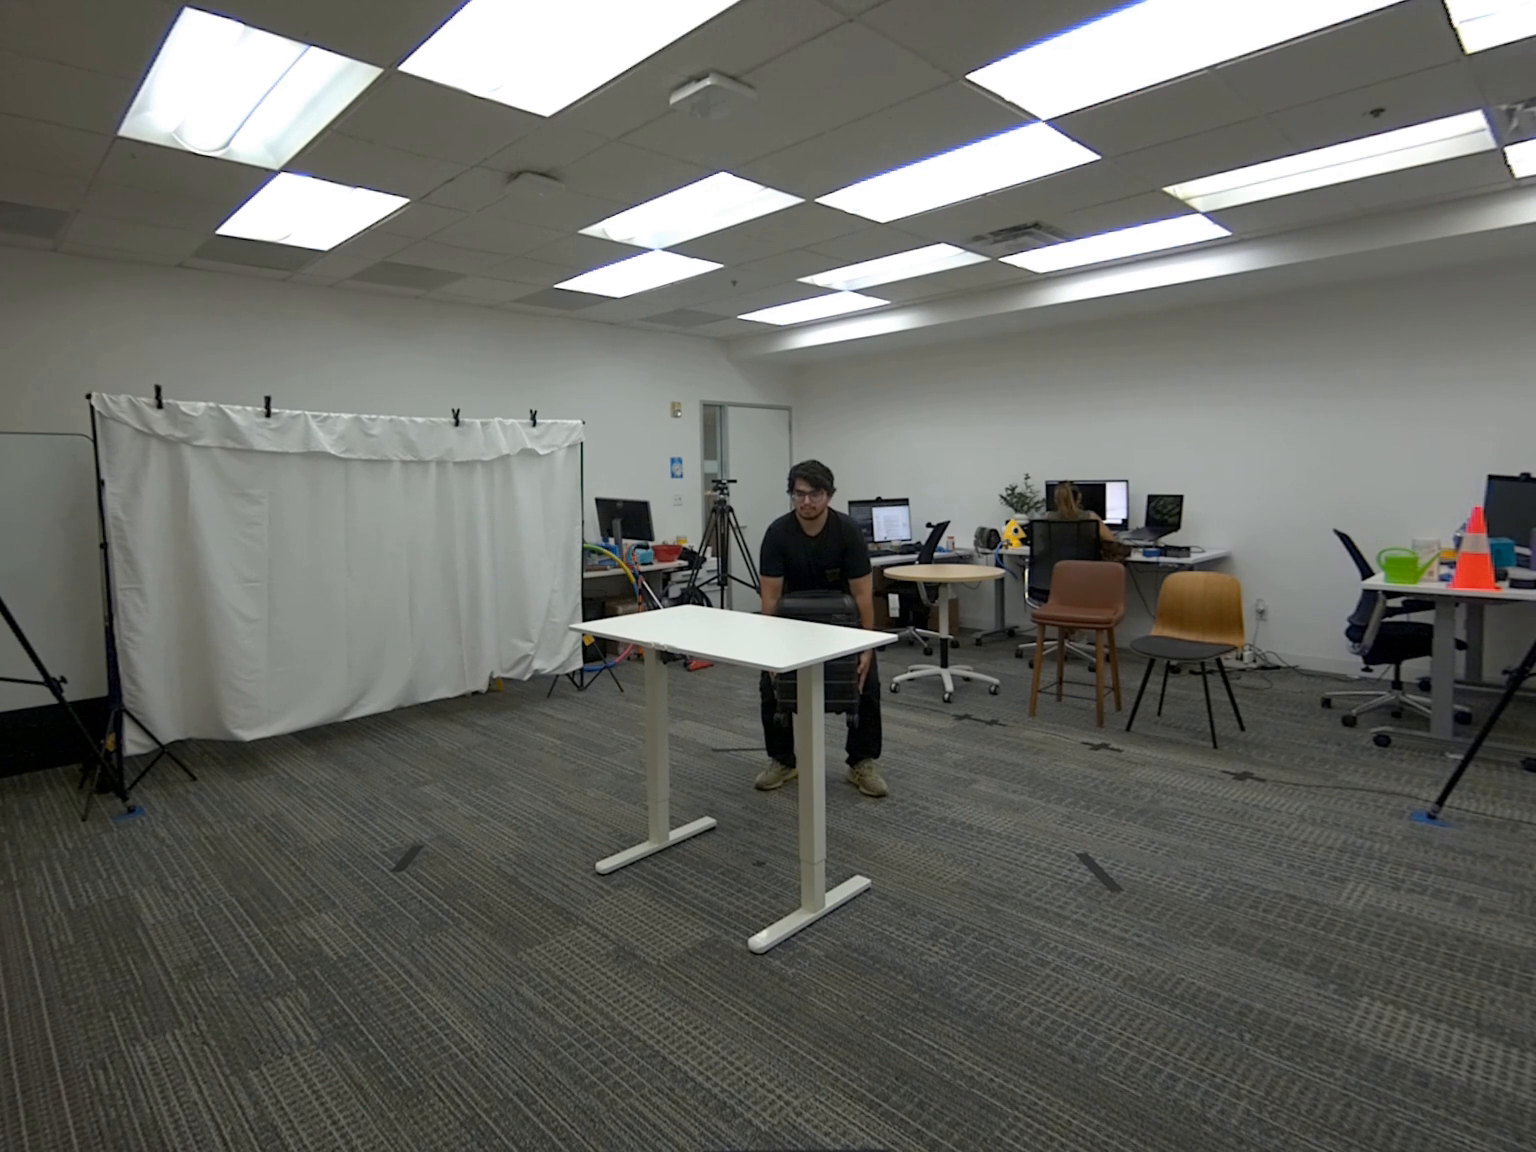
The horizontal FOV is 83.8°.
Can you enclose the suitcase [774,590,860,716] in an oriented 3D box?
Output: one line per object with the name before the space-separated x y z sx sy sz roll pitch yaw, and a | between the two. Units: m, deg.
suitcase | 0.224 0.347 3.670 0.379 0.548 0.246 0 3 9
